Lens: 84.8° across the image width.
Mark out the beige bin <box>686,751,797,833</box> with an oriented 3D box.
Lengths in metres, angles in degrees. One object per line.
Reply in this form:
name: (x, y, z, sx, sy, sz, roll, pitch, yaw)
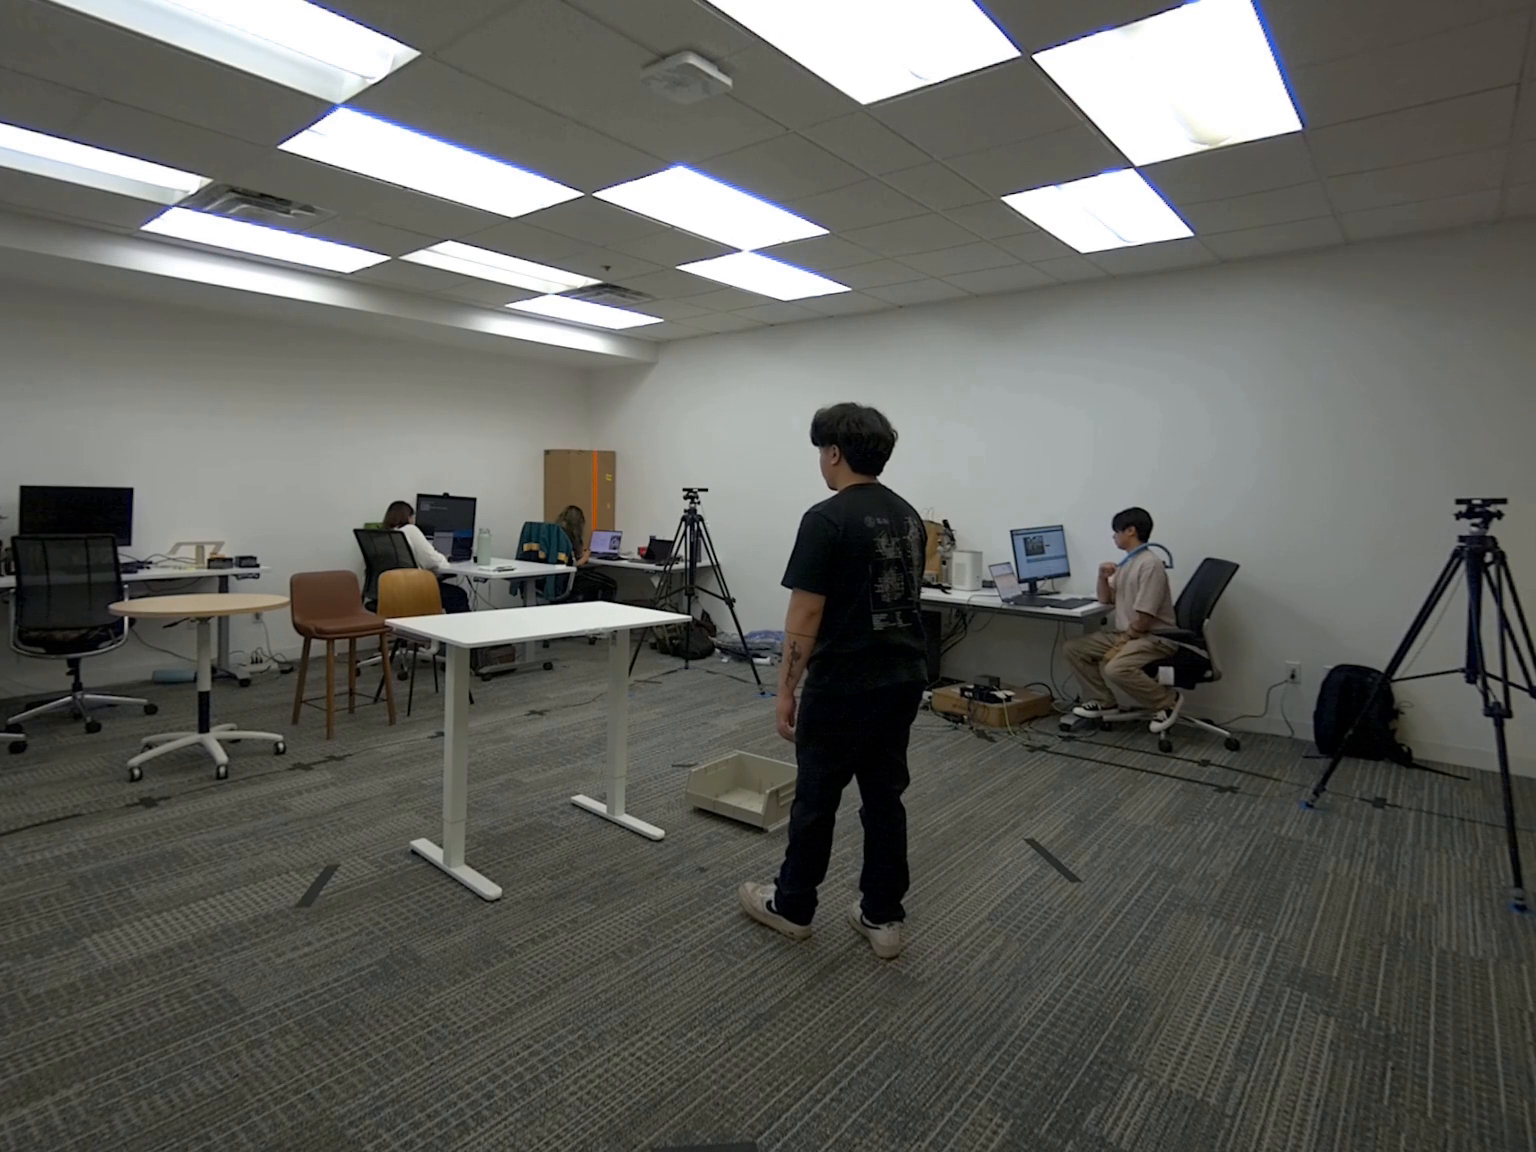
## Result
beige bin: (-0.090, 0.928, 3.690, 0.436, 0.188, 0.366, 4, 5, 36)
